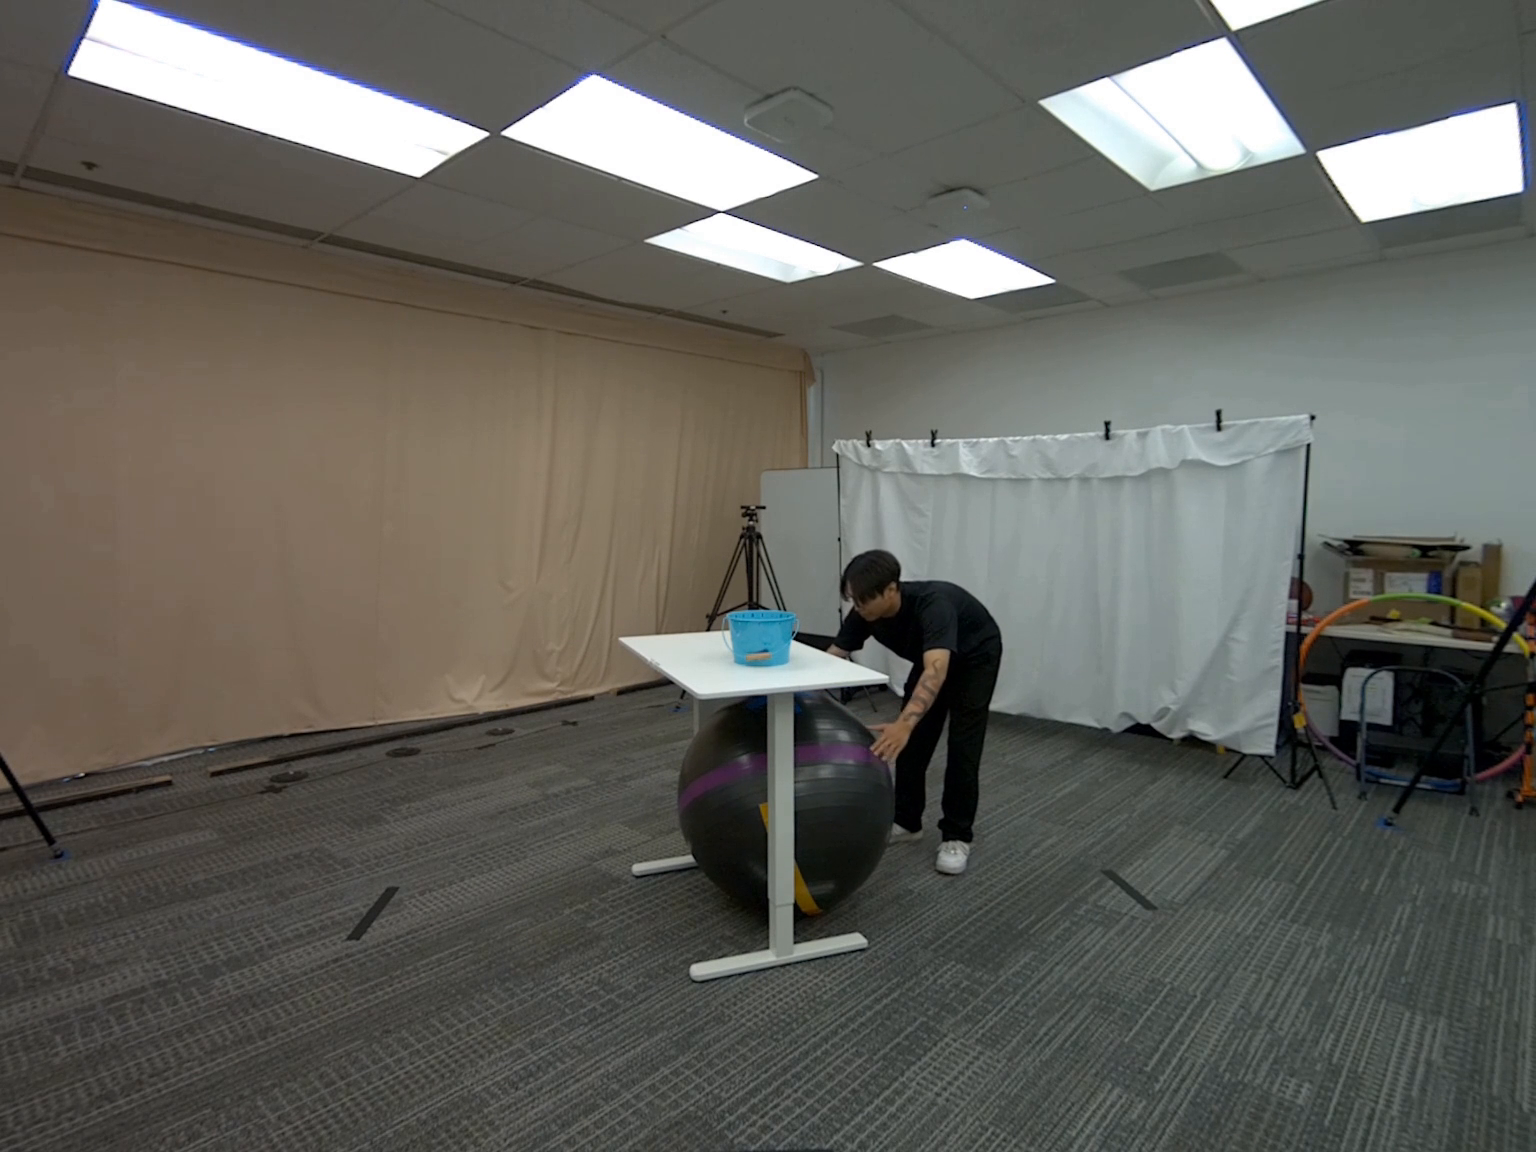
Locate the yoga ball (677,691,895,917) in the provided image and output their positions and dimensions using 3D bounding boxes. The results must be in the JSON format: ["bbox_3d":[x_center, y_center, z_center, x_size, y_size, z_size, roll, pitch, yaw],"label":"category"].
[{"bbox_3d":[0.061,0.782,2.958,0.757,0.756,0.760,0,4,-2],"label":"yoga ball"}]
